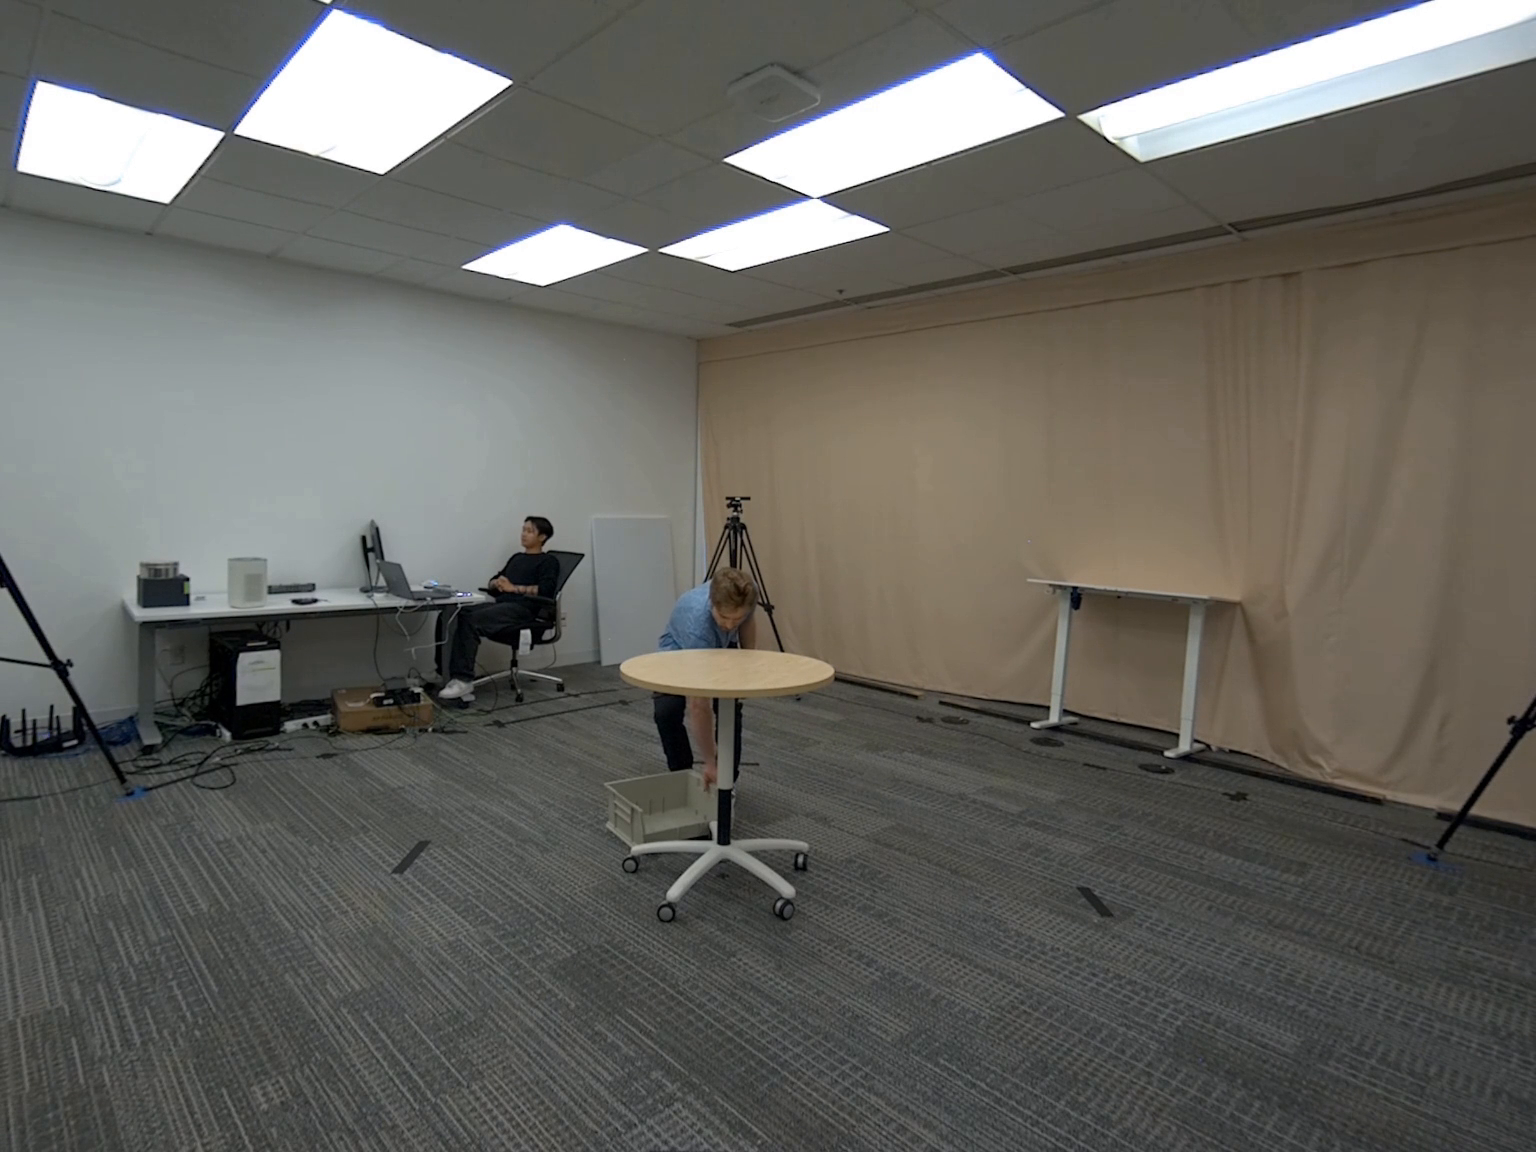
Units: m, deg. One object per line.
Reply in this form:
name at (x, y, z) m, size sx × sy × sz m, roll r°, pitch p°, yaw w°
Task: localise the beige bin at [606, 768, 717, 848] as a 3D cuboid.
beige bin at (-0.425, 0.975, 3.508) m, size 0.413 × 0.188 × 0.386 m, roll -3°, pitch 5°, yaw -34°
